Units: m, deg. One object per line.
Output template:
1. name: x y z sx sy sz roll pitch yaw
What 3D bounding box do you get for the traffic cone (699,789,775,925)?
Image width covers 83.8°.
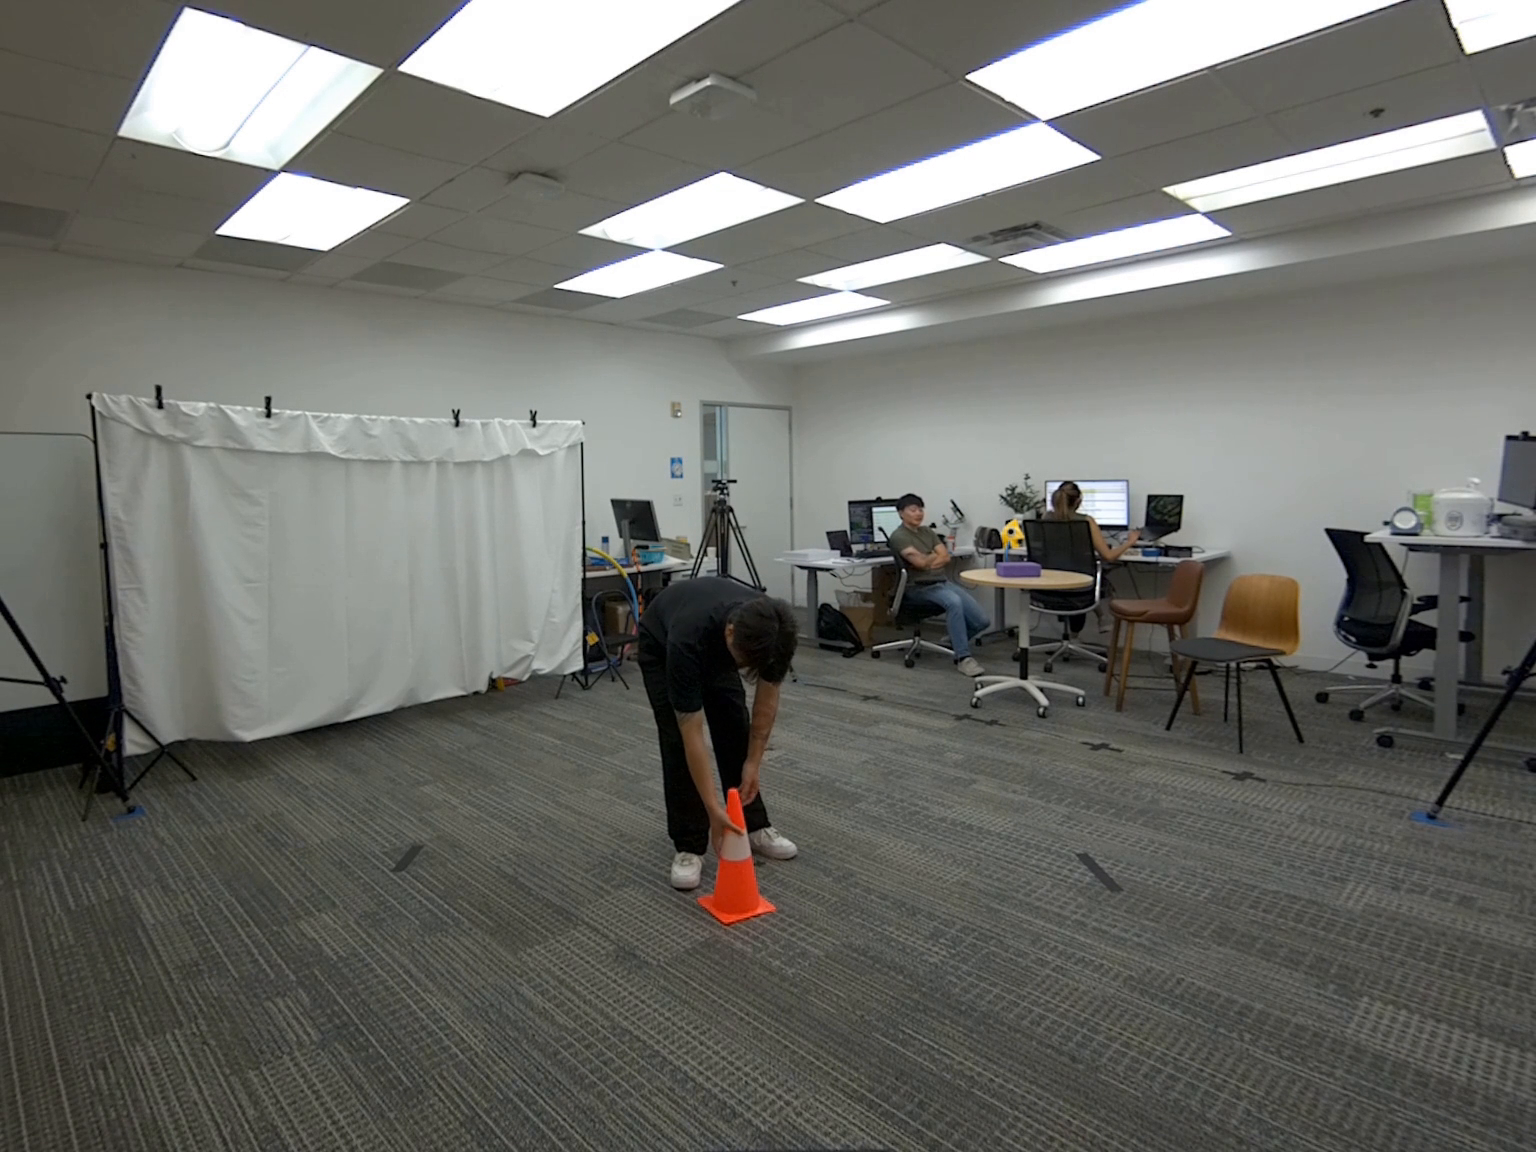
1. traffic cone: -0.117 0.904 2.807 0.200 0.383 0.208 -4 2 -30
